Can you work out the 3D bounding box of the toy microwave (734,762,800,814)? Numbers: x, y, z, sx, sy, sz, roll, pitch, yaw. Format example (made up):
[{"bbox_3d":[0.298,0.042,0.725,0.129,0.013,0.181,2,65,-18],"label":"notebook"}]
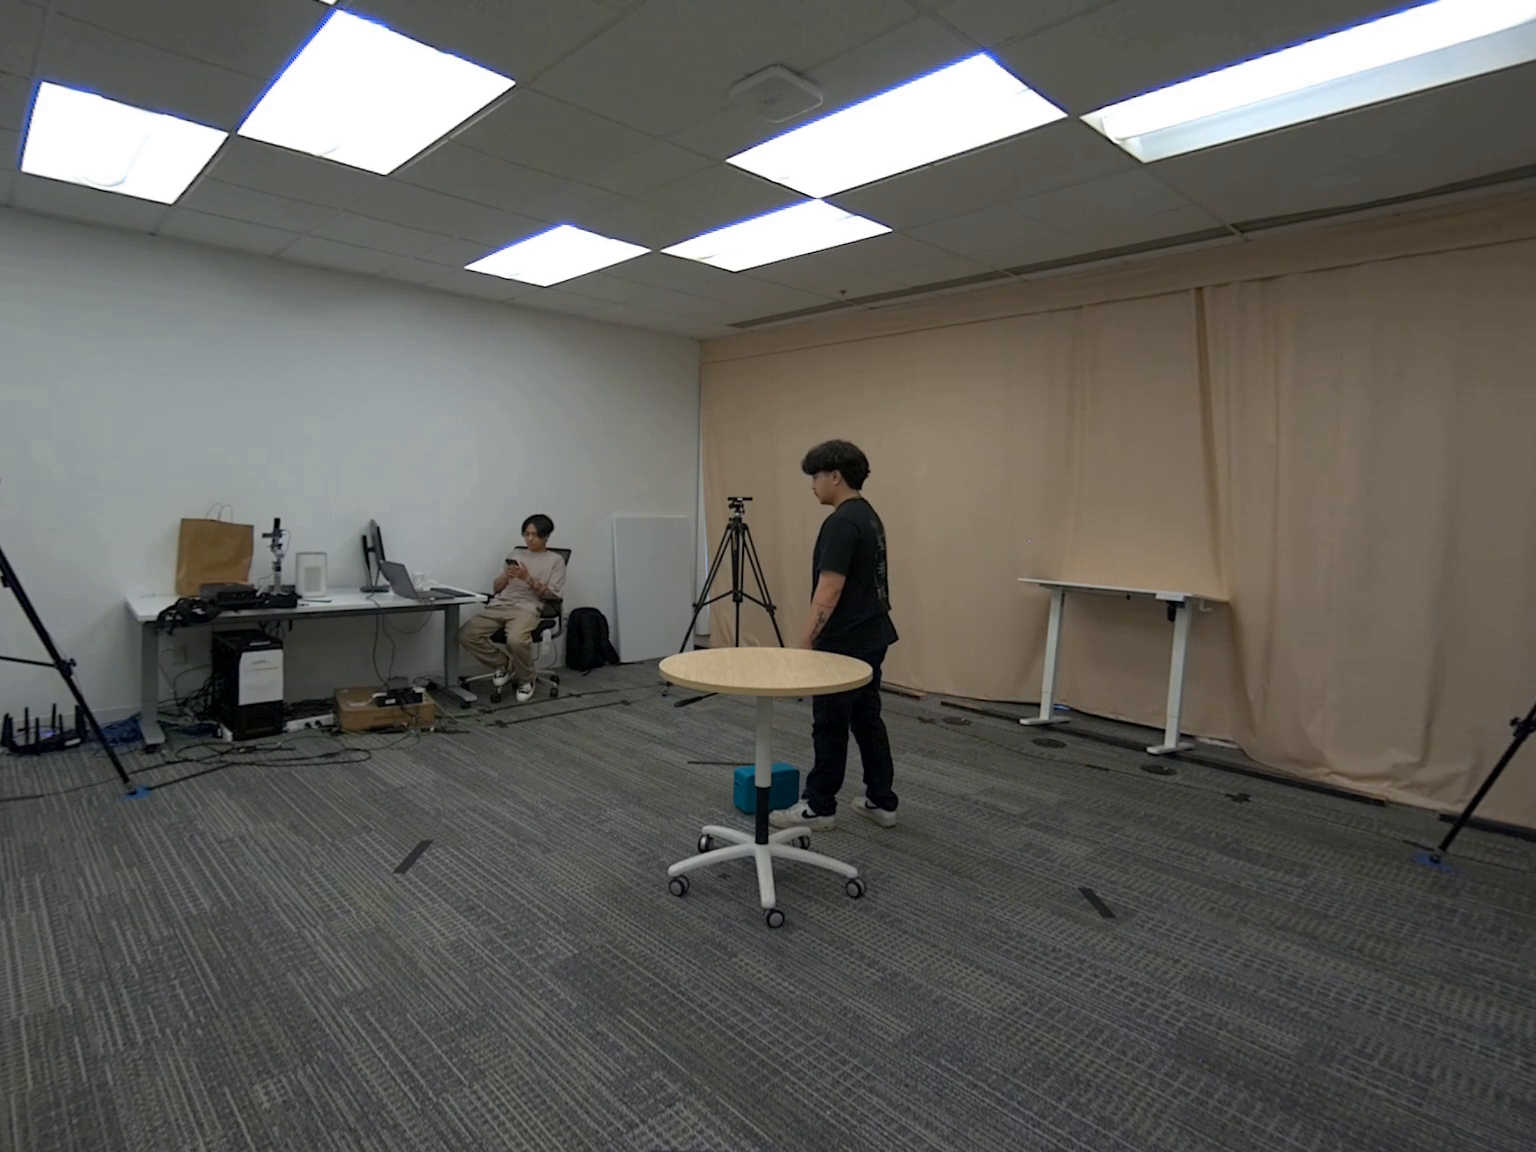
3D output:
[{"bbox_3d":[-0.015,0.952,3.816,0.281,0.184,0.155,-1,3,-26],"label":"toy microwave"}]
